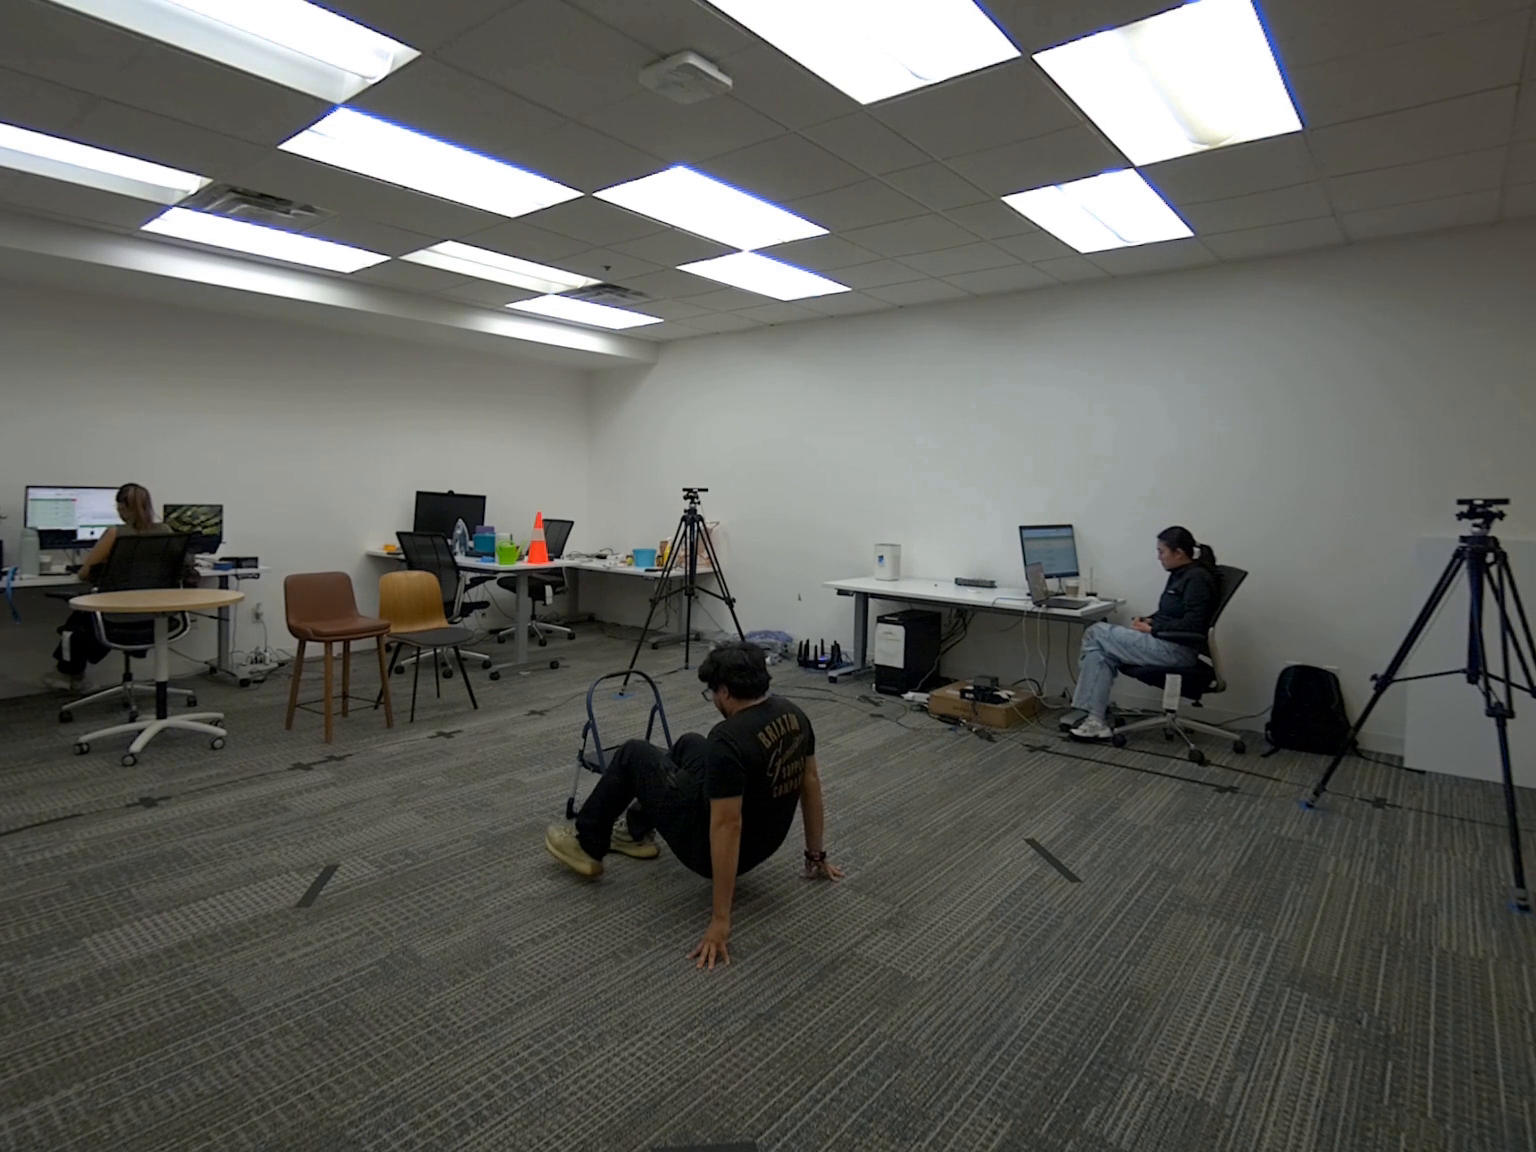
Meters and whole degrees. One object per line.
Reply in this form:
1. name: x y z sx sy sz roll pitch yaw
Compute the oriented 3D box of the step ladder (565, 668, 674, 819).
1. step ladder: -0.598 0.712 3.599 0.361 0.605 0.418 3 4 38
